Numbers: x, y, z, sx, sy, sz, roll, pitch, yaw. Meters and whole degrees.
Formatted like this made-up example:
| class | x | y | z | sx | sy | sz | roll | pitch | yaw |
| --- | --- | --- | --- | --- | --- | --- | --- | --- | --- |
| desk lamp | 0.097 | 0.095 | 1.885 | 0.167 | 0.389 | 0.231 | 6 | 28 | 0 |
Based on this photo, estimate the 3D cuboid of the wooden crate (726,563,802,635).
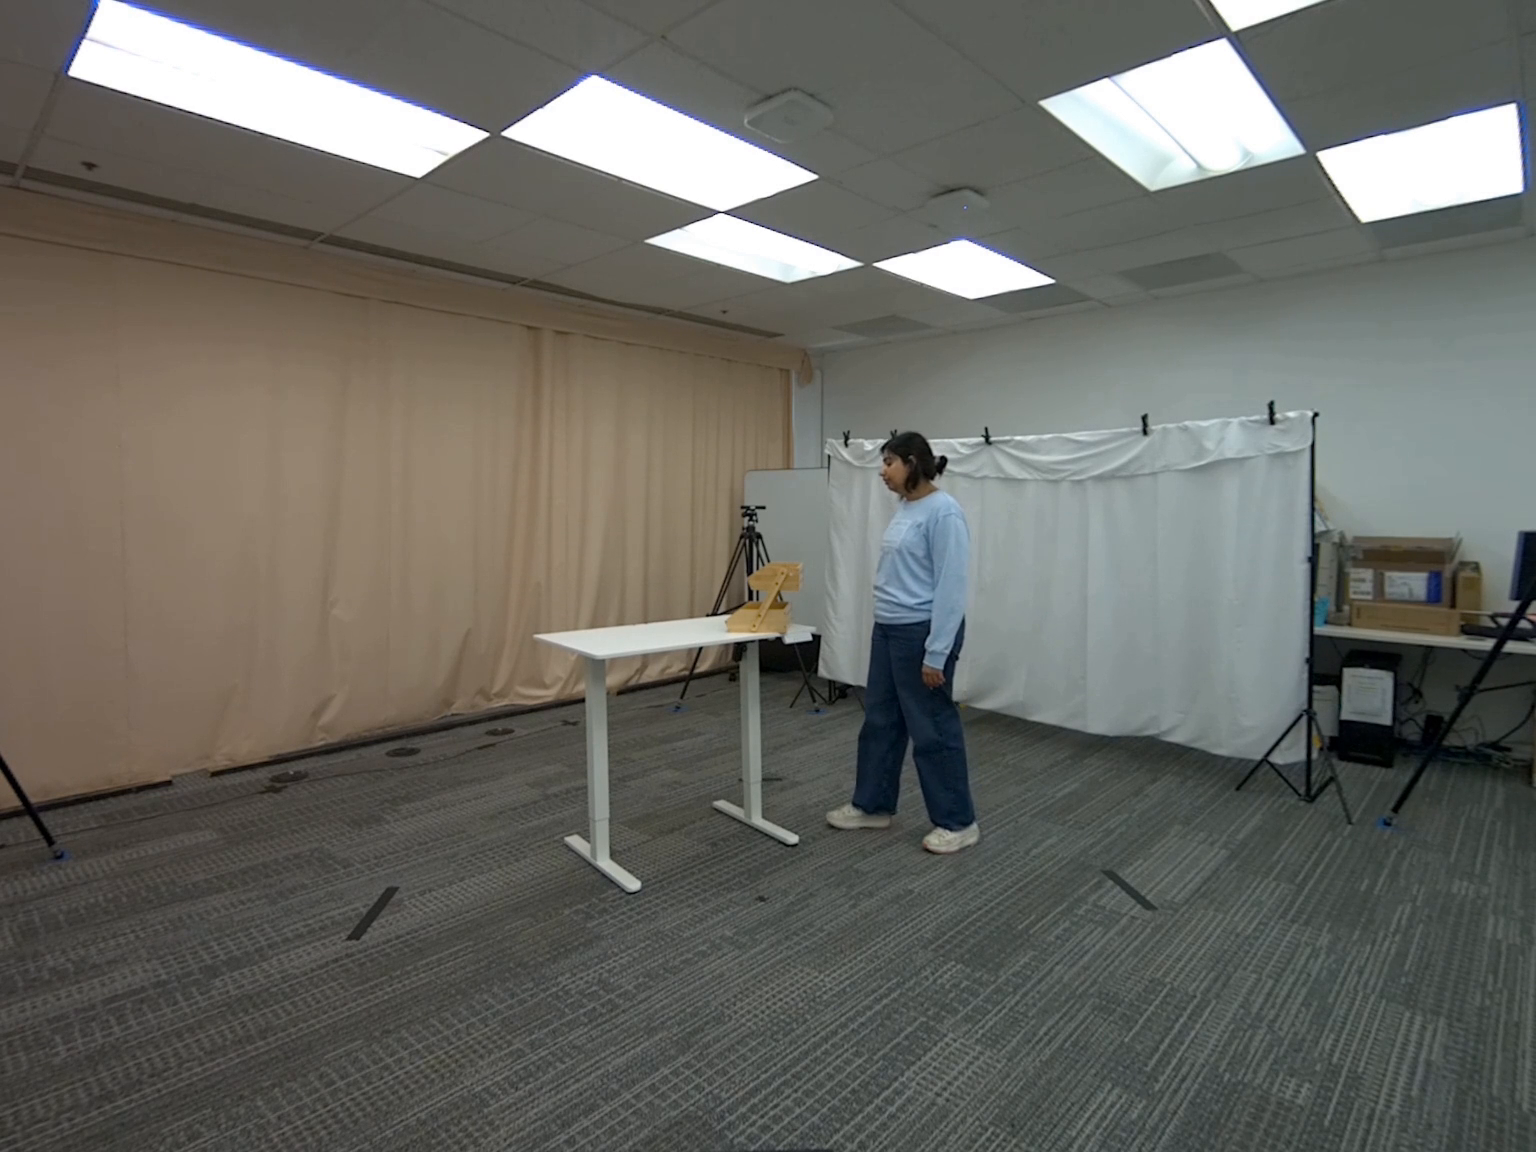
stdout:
| class | x | y | z | sx | sy | sz | roll | pitch | yaw |
| --- | --- | --- | --- | --- | --- | --- | --- | --- | --- |
| wooden crate | -0.014 | 0.085 | 3.511 | 0.304 | 0.273 | 0.323 | 1 | 3 | 5 |
